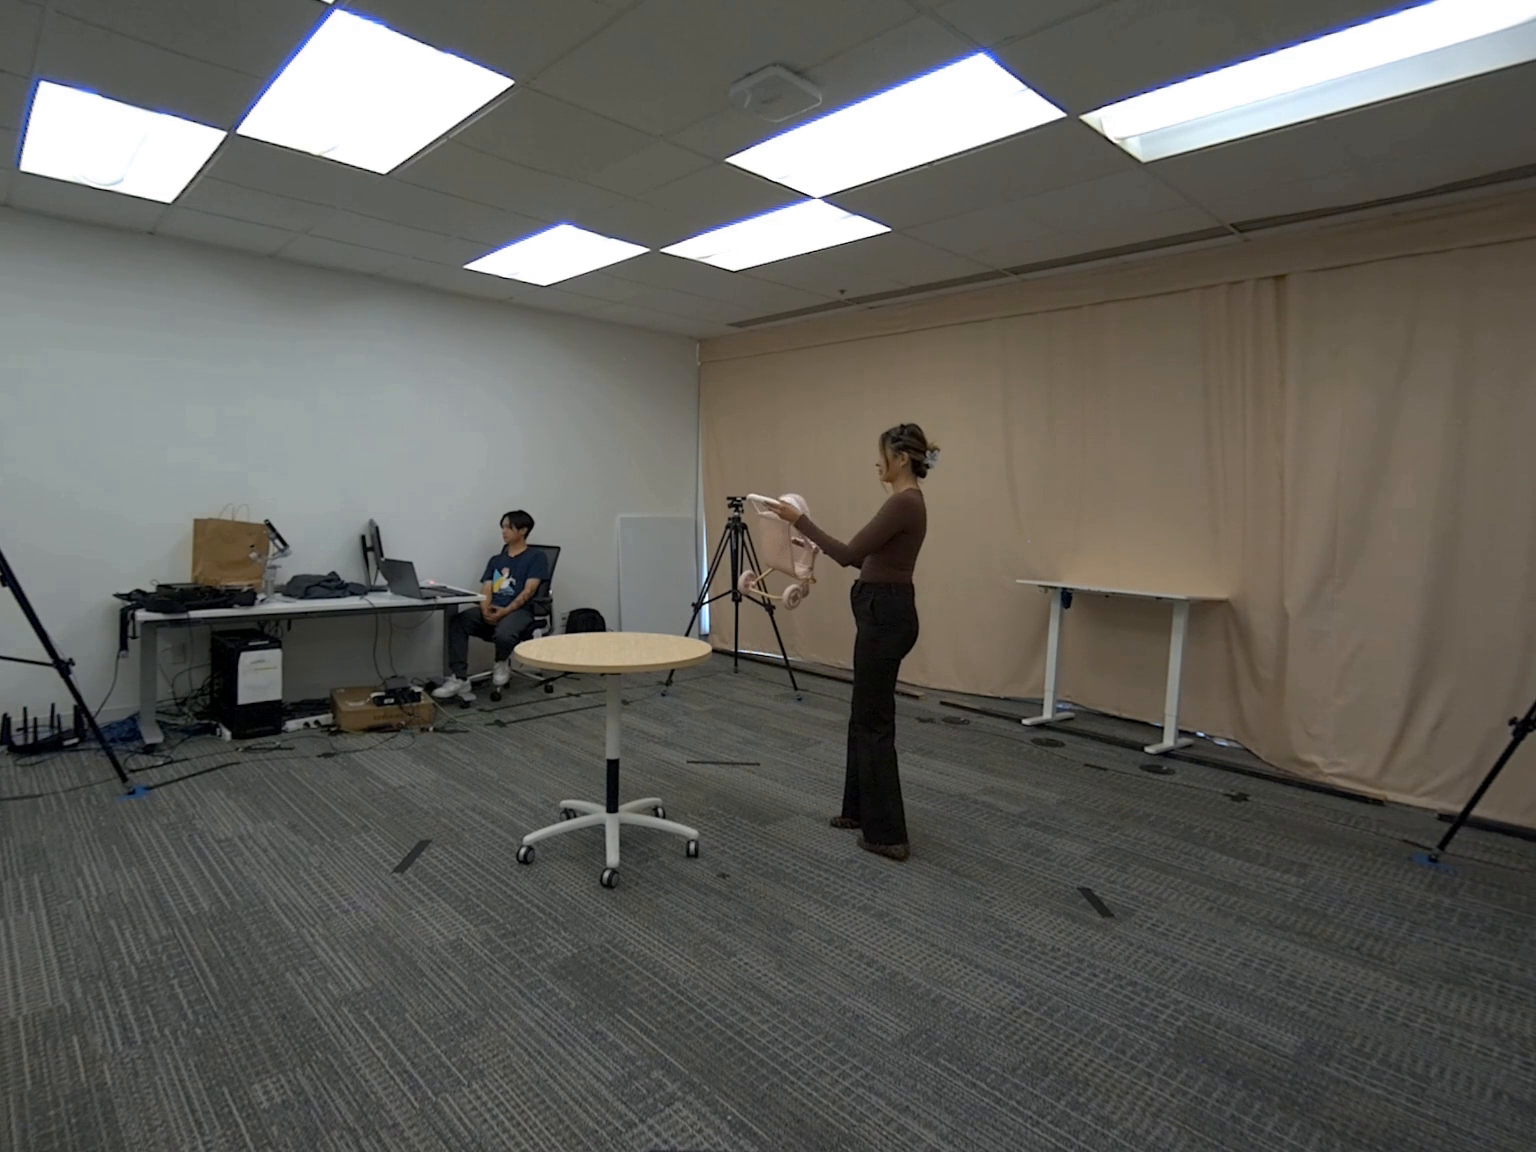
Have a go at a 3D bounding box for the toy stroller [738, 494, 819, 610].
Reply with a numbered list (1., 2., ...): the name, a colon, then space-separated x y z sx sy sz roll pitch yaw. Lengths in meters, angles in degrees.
1. toy stroller: 0.072 -0.112 3.619 0.336 0.528 0.290 -18 26 -42
